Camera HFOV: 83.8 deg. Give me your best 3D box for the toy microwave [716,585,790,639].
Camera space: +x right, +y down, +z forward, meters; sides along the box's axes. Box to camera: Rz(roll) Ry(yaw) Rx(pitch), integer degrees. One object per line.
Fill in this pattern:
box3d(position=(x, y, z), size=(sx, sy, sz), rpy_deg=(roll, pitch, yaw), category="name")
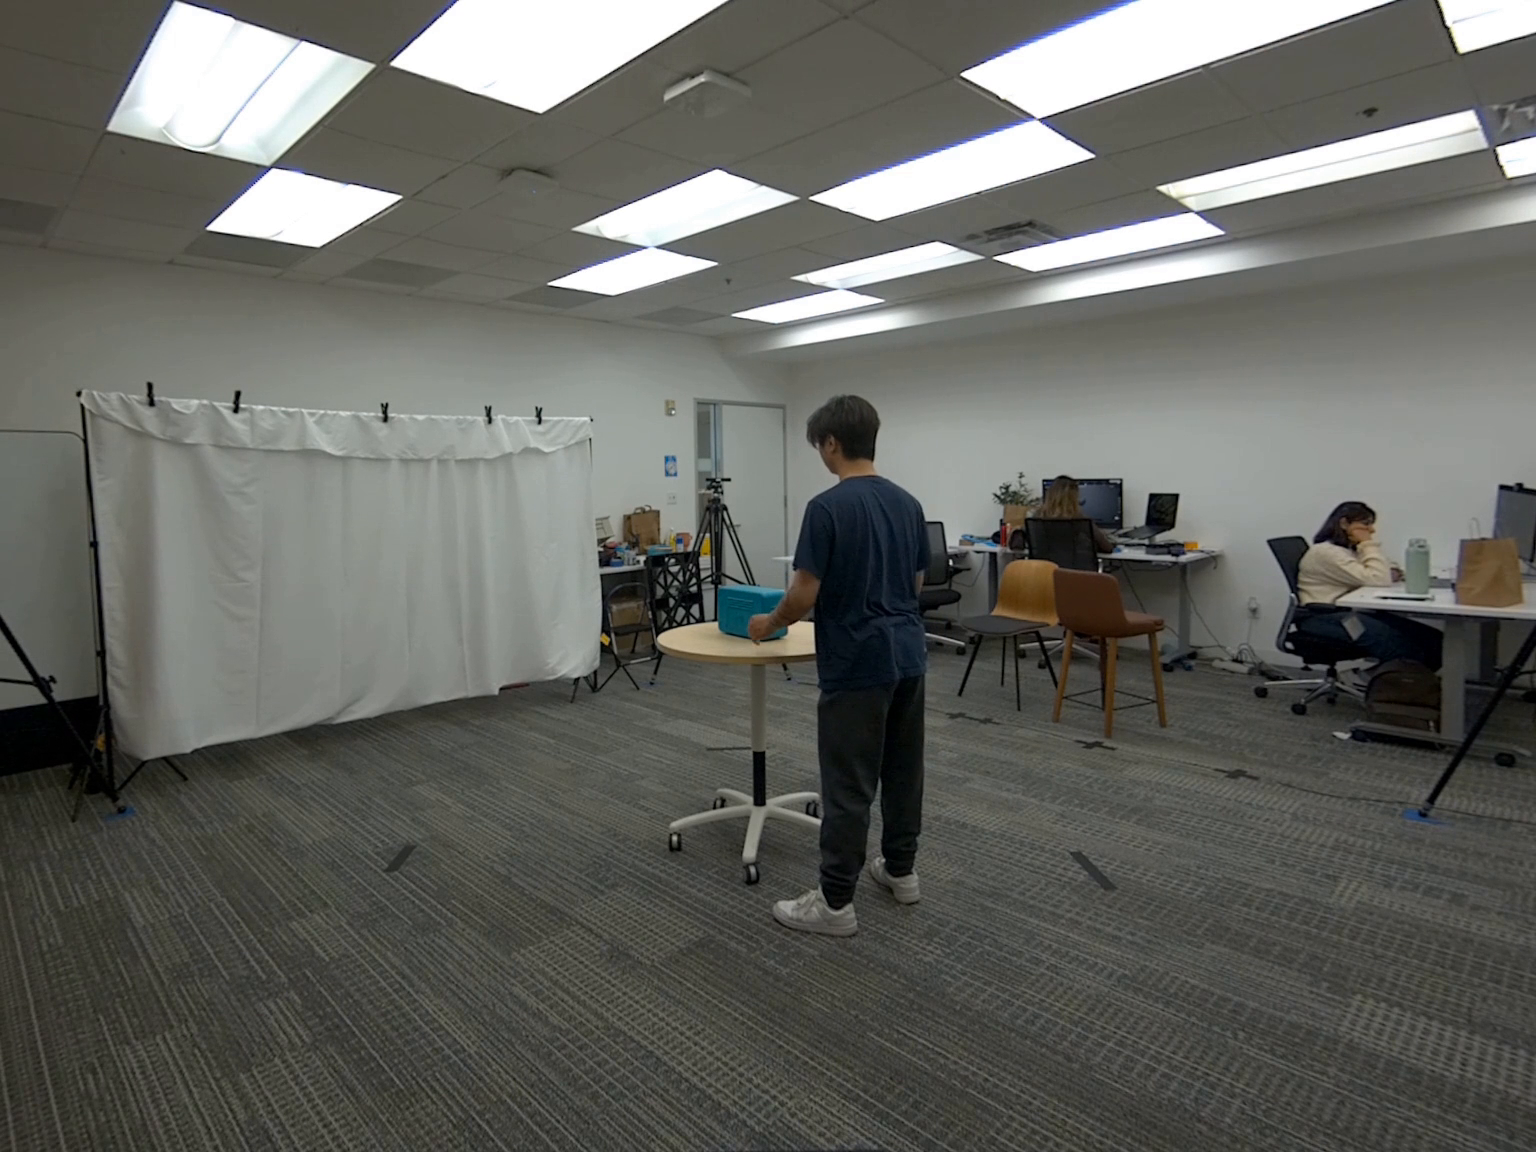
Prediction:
box3d(position=(-0.051, 0.138, 3.273), size=(0.148, 0.183, 0.295), rpy_deg=(-4, 7, -38), category="toy microwave")
